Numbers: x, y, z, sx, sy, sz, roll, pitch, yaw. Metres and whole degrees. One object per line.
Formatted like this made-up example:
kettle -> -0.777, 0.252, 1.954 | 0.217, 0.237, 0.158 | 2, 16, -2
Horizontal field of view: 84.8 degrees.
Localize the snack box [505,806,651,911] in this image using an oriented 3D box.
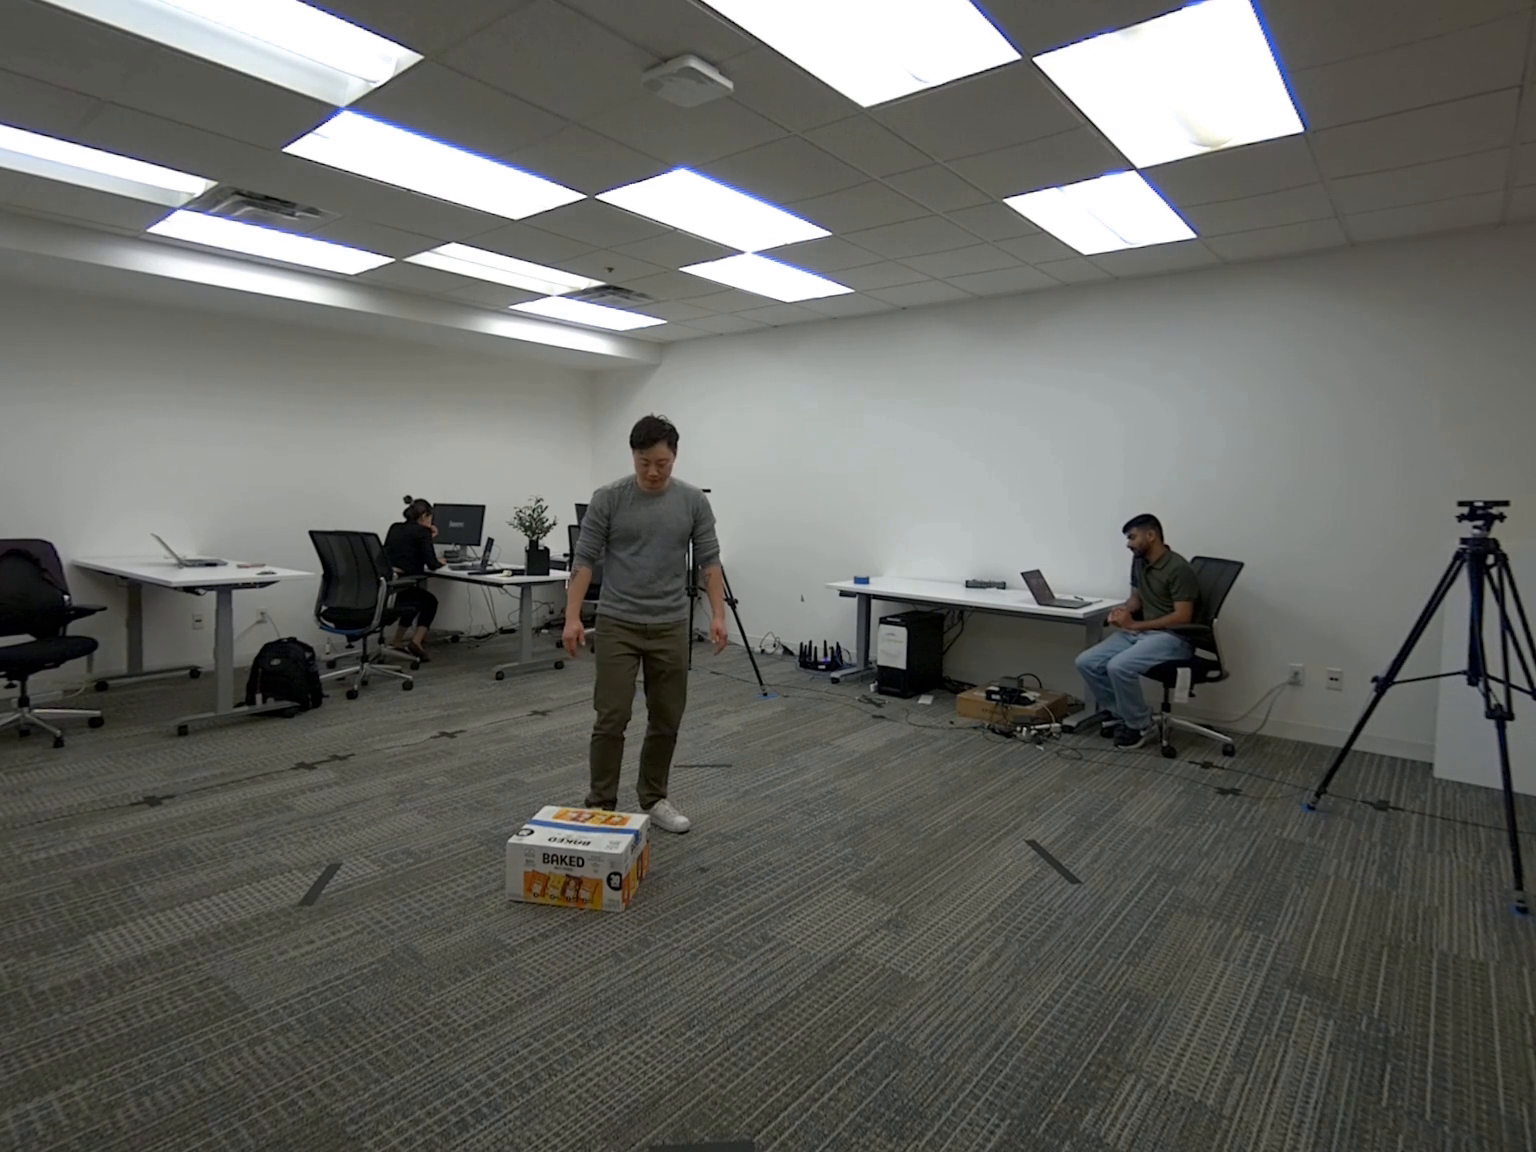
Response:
snack box -> -0.667, 0.986, 2.961 | 0.410, 0.205, 0.338 | 2, 5, 9
